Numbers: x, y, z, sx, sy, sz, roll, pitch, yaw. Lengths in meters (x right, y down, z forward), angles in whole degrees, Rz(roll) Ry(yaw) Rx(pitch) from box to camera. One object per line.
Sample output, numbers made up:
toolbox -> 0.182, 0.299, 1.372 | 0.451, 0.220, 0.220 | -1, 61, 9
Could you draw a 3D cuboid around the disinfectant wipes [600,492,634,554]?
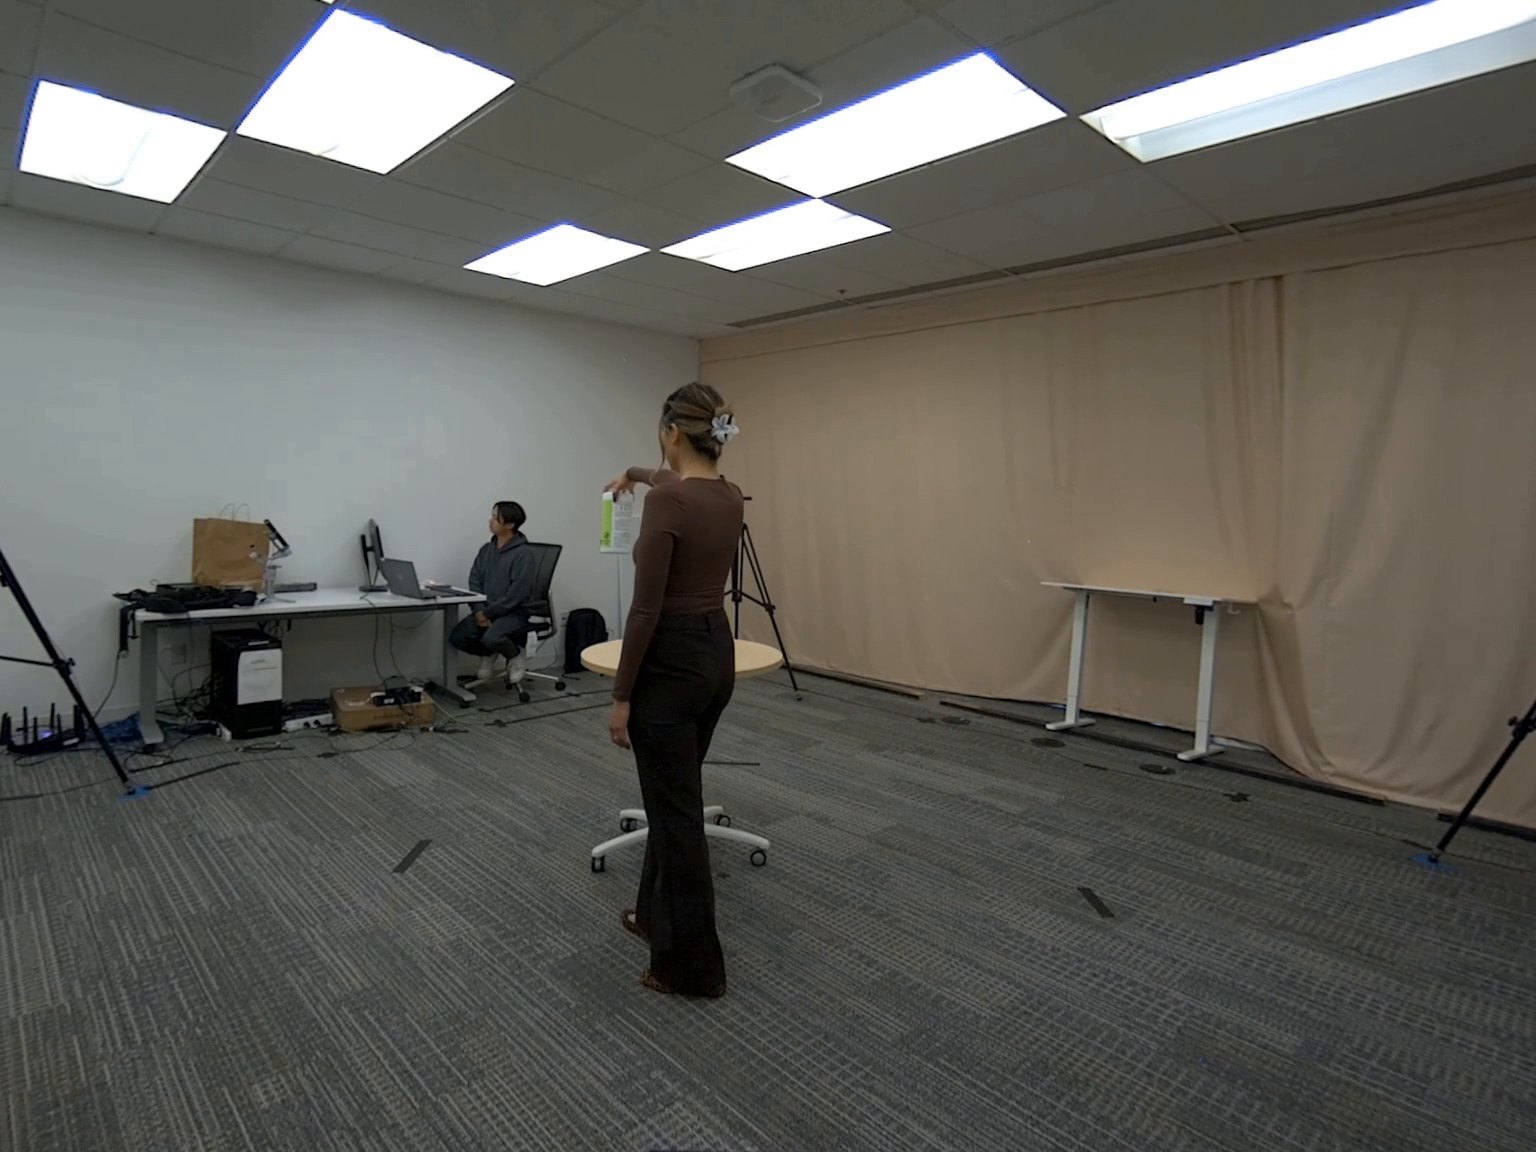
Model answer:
disinfectant wipes -> -0.543, -0.187, 2.989 | 0.118, 0.217, 0.118 | 2, 2, -1
